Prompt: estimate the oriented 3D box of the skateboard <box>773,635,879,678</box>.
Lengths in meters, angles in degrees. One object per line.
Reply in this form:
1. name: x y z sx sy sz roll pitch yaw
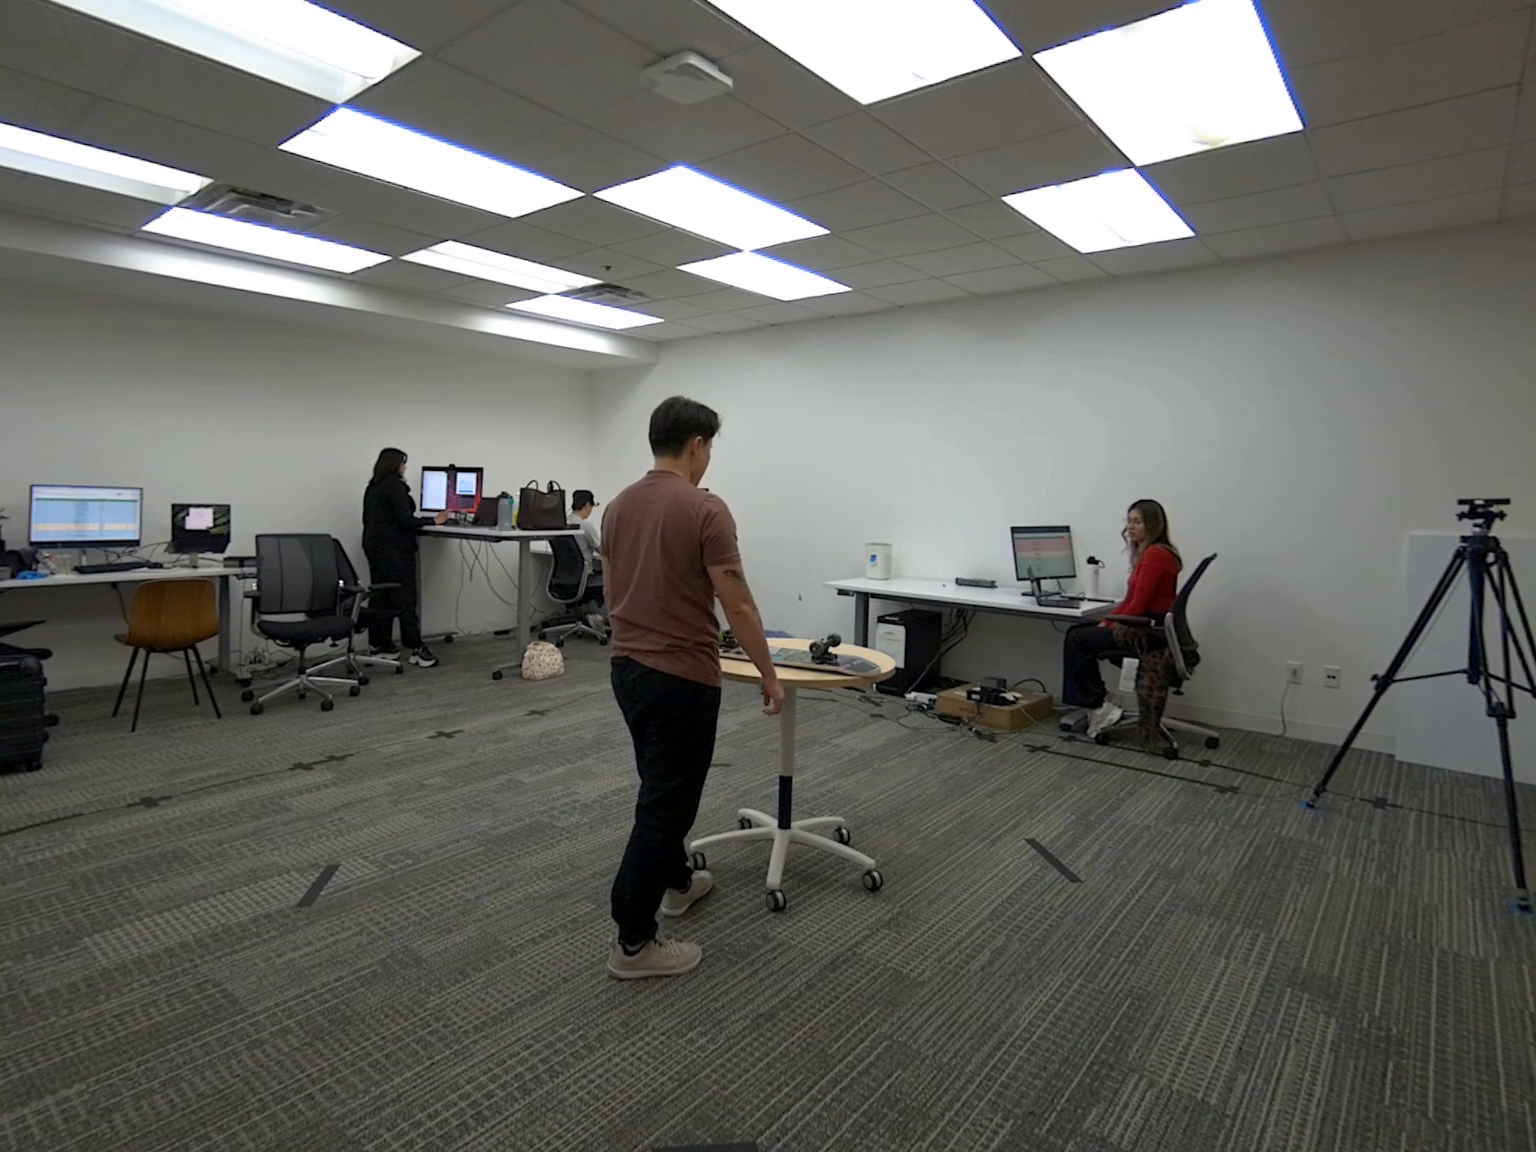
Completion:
1. skateboard: 0.018 0.248 3.049 0.808 0.109 0.189 5 10 29
